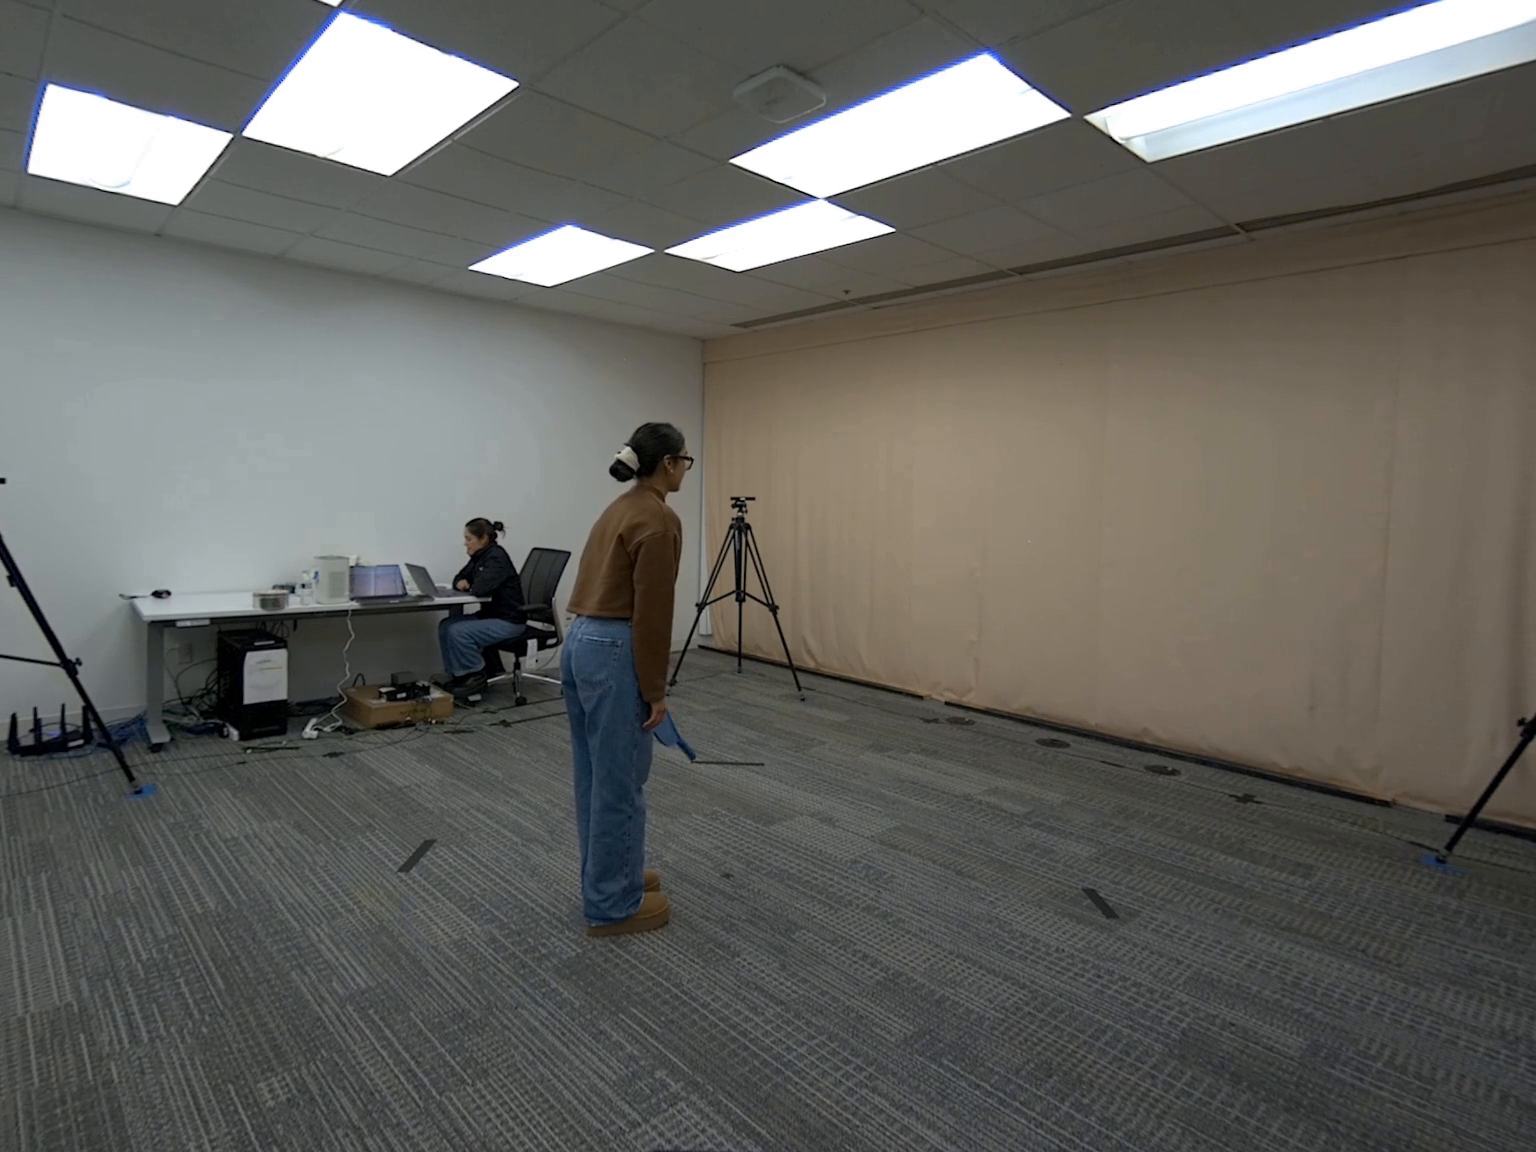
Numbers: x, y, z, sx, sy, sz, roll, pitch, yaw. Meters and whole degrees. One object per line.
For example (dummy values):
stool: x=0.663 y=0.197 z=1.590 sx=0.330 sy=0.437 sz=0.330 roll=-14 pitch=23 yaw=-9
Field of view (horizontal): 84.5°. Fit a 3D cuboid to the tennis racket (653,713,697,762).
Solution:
tennis racket: x=-0.378 y=0.540 z=3.037 sx=0.032 sy=0.218 sz=0.419 roll=-15 pitch=-43 yaw=19
